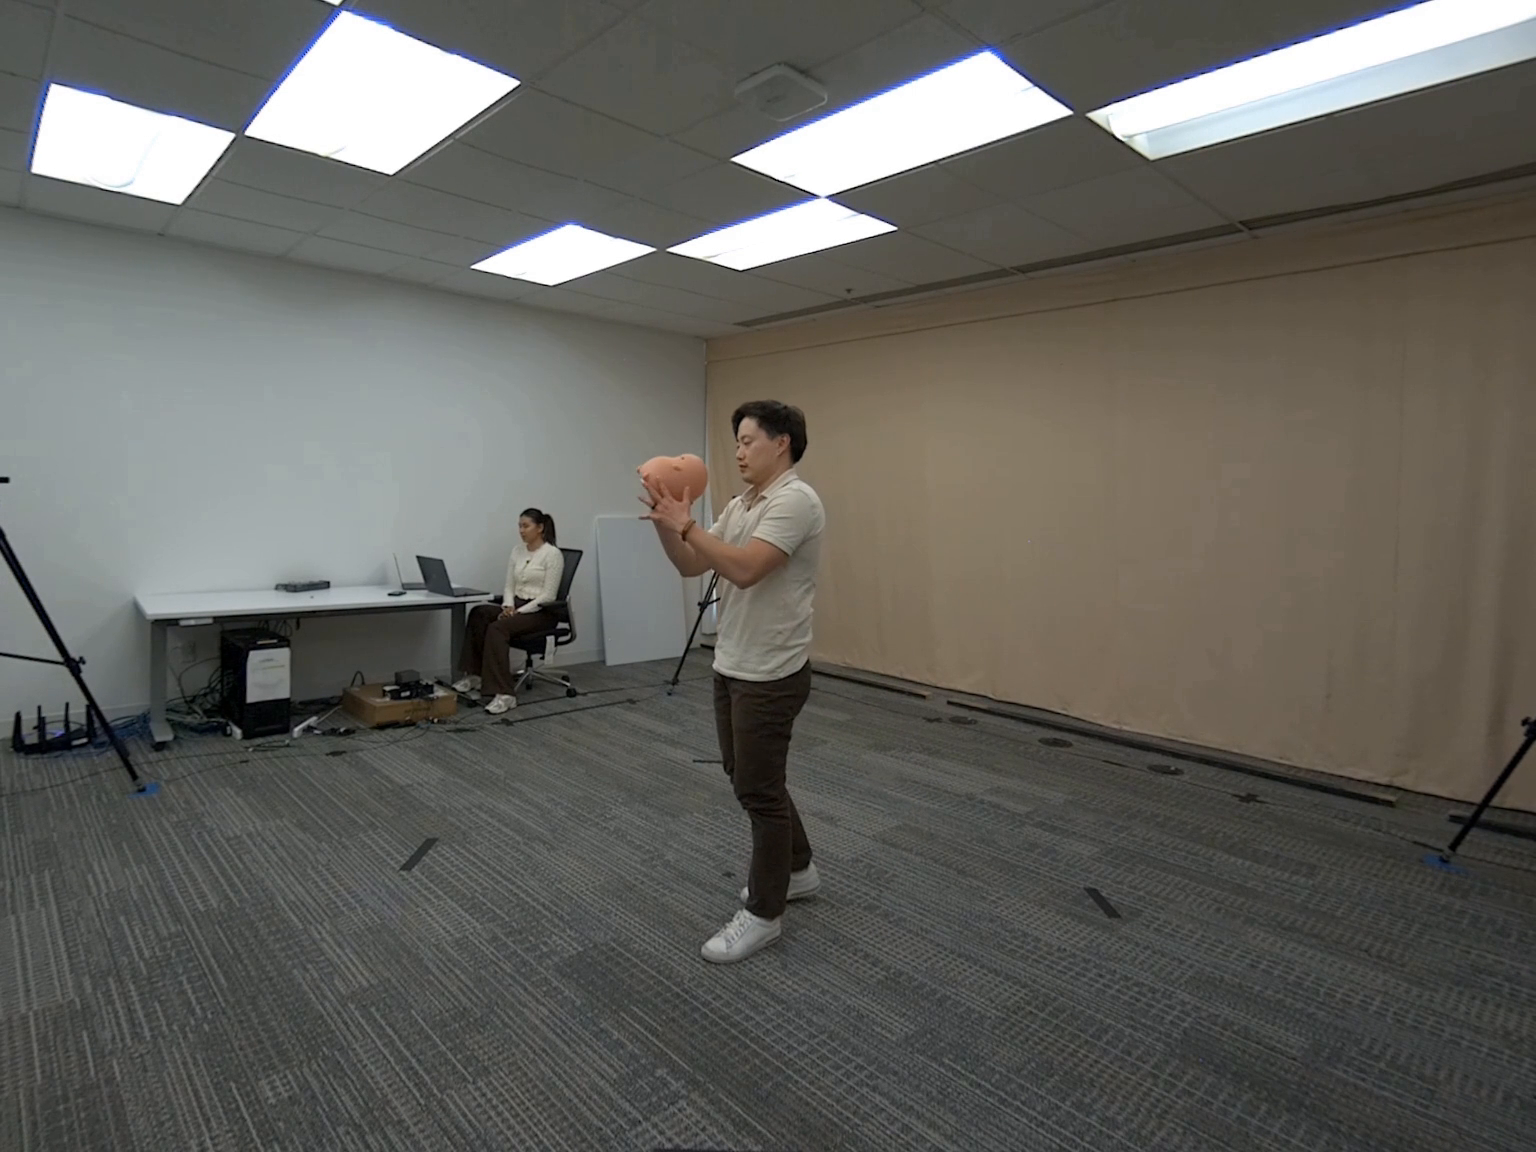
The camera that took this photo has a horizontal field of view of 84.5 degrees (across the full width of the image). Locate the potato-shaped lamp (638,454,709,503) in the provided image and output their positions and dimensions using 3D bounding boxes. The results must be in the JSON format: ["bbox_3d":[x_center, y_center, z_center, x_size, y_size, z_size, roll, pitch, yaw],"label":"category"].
[{"bbox_3d":[-0.284,-0.288,2.571,0.197,0.168,0.168,-26,21,-7],"label":"potato-shaped lamp"}]
